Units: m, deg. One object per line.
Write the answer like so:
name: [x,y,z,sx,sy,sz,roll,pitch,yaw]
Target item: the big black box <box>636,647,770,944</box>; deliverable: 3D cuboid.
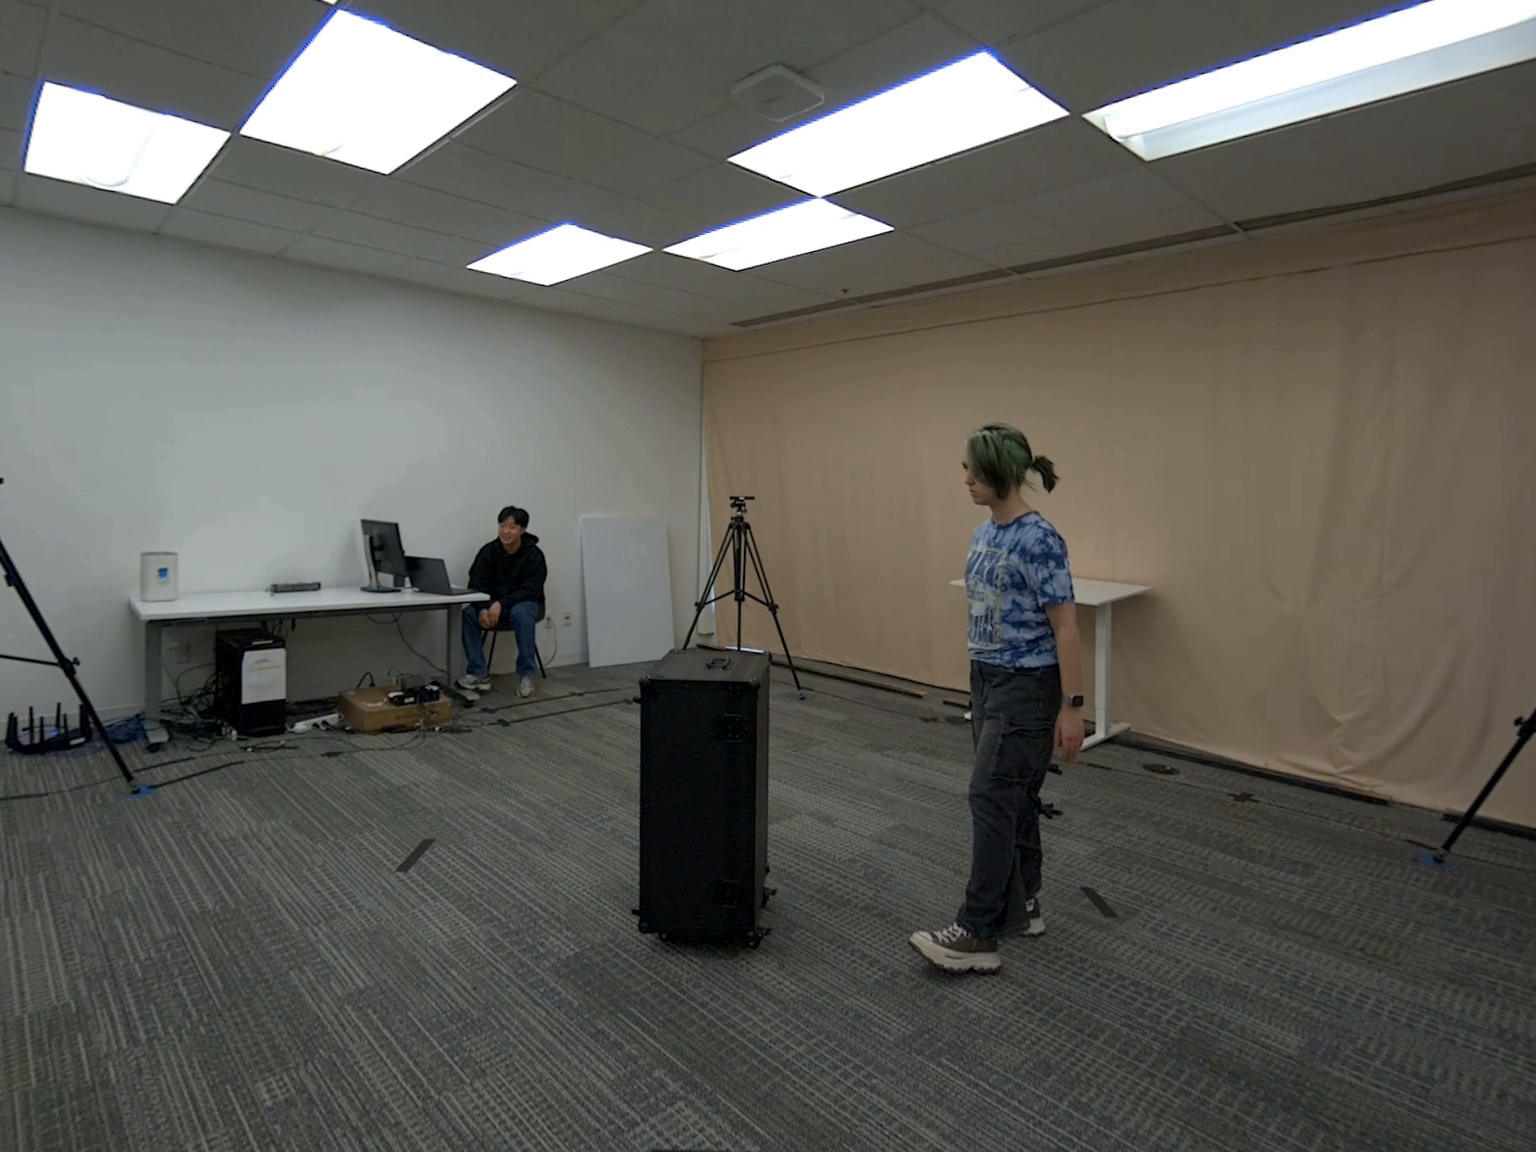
big black box: [-0.202,0.710,2.737,0.398,0.859,0.519,0,3,6]
